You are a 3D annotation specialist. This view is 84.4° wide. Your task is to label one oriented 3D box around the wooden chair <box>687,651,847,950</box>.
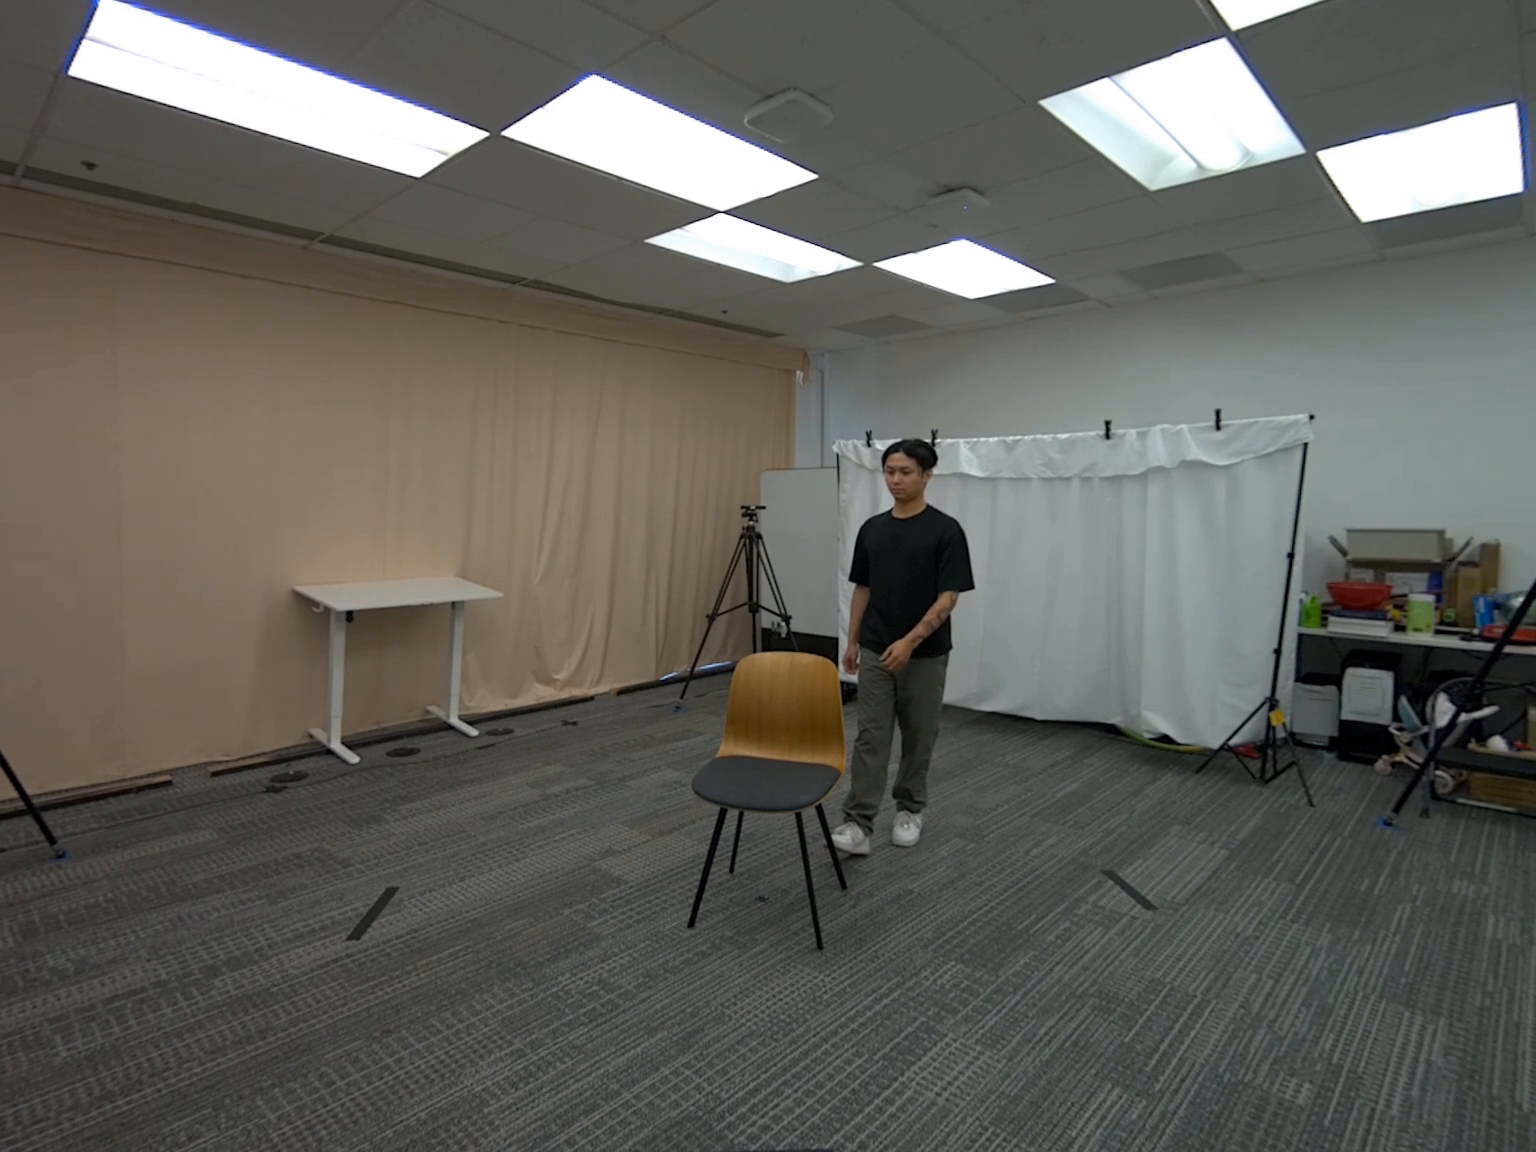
[{"bbox_3d":[0.015,0.723,2.880,0.488,0.878,0.512,1,-1,18],"label":"wooden chair"}]
